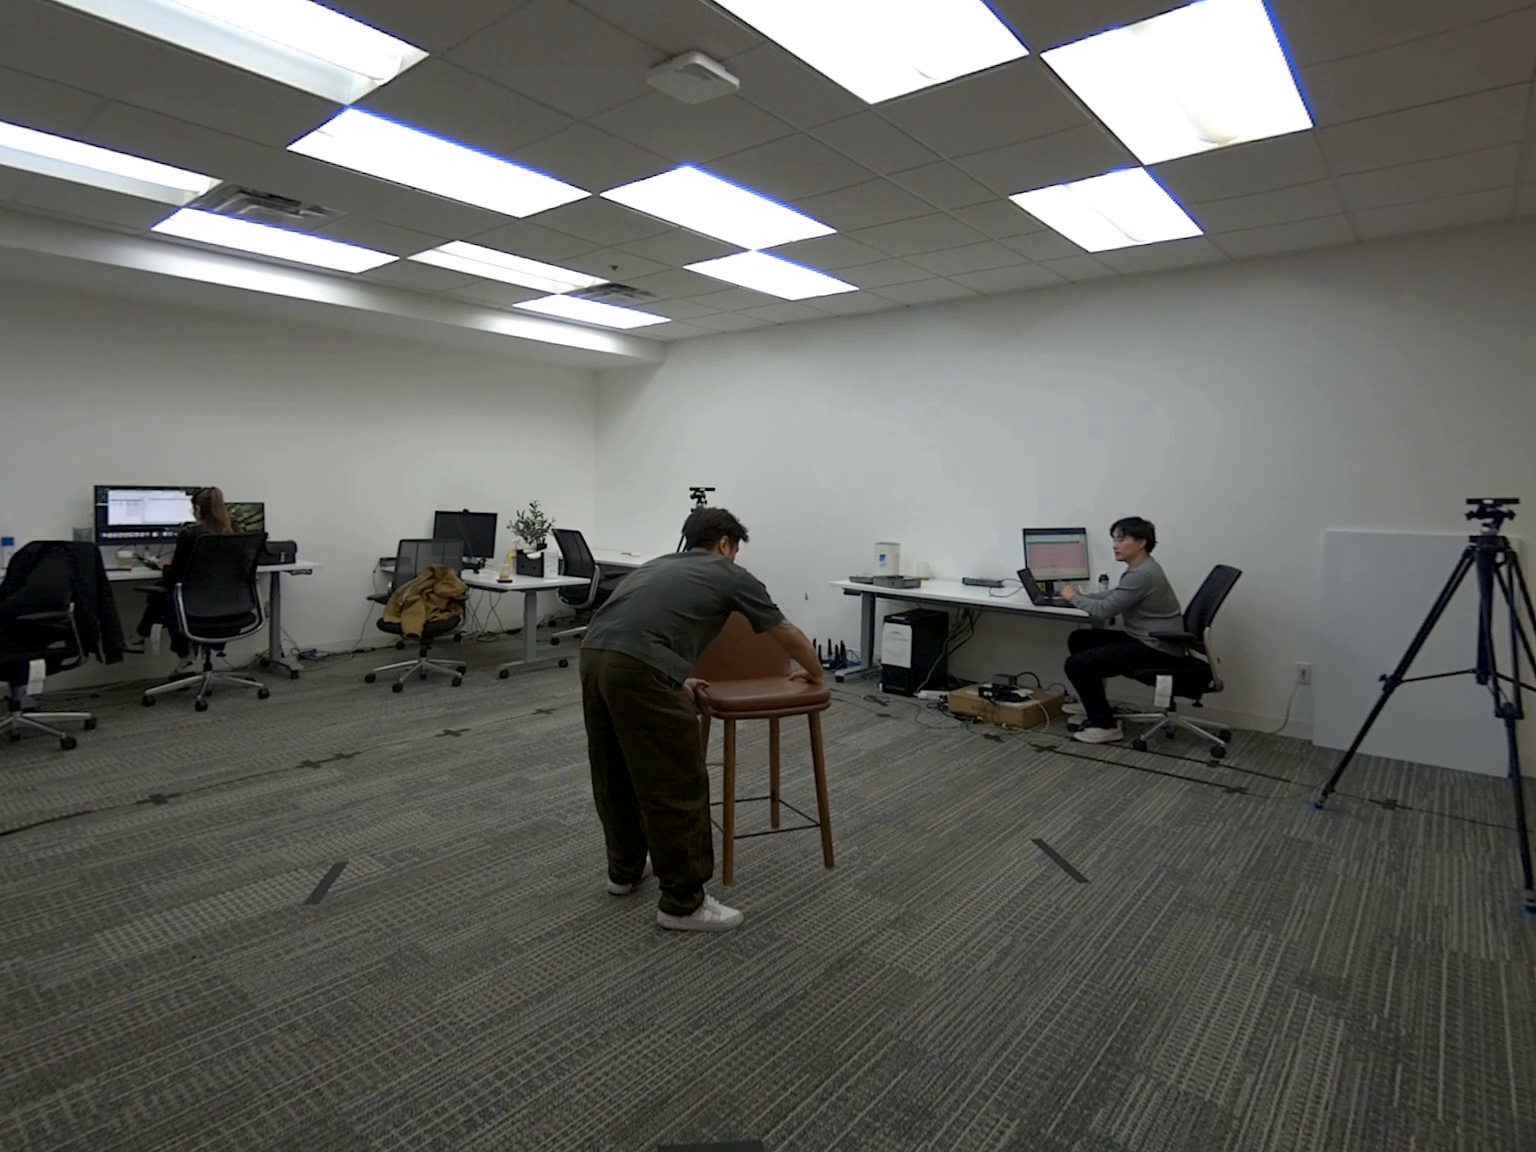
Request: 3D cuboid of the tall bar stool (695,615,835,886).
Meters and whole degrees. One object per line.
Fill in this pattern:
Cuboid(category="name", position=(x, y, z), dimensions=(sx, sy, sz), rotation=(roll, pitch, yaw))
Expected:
Cuboid(category="tall bar stool", position=(-0.054, 0.568, 3.073), dimensions=(0.446, 0.891, 0.477), rotation=(-1, -1, -23))
